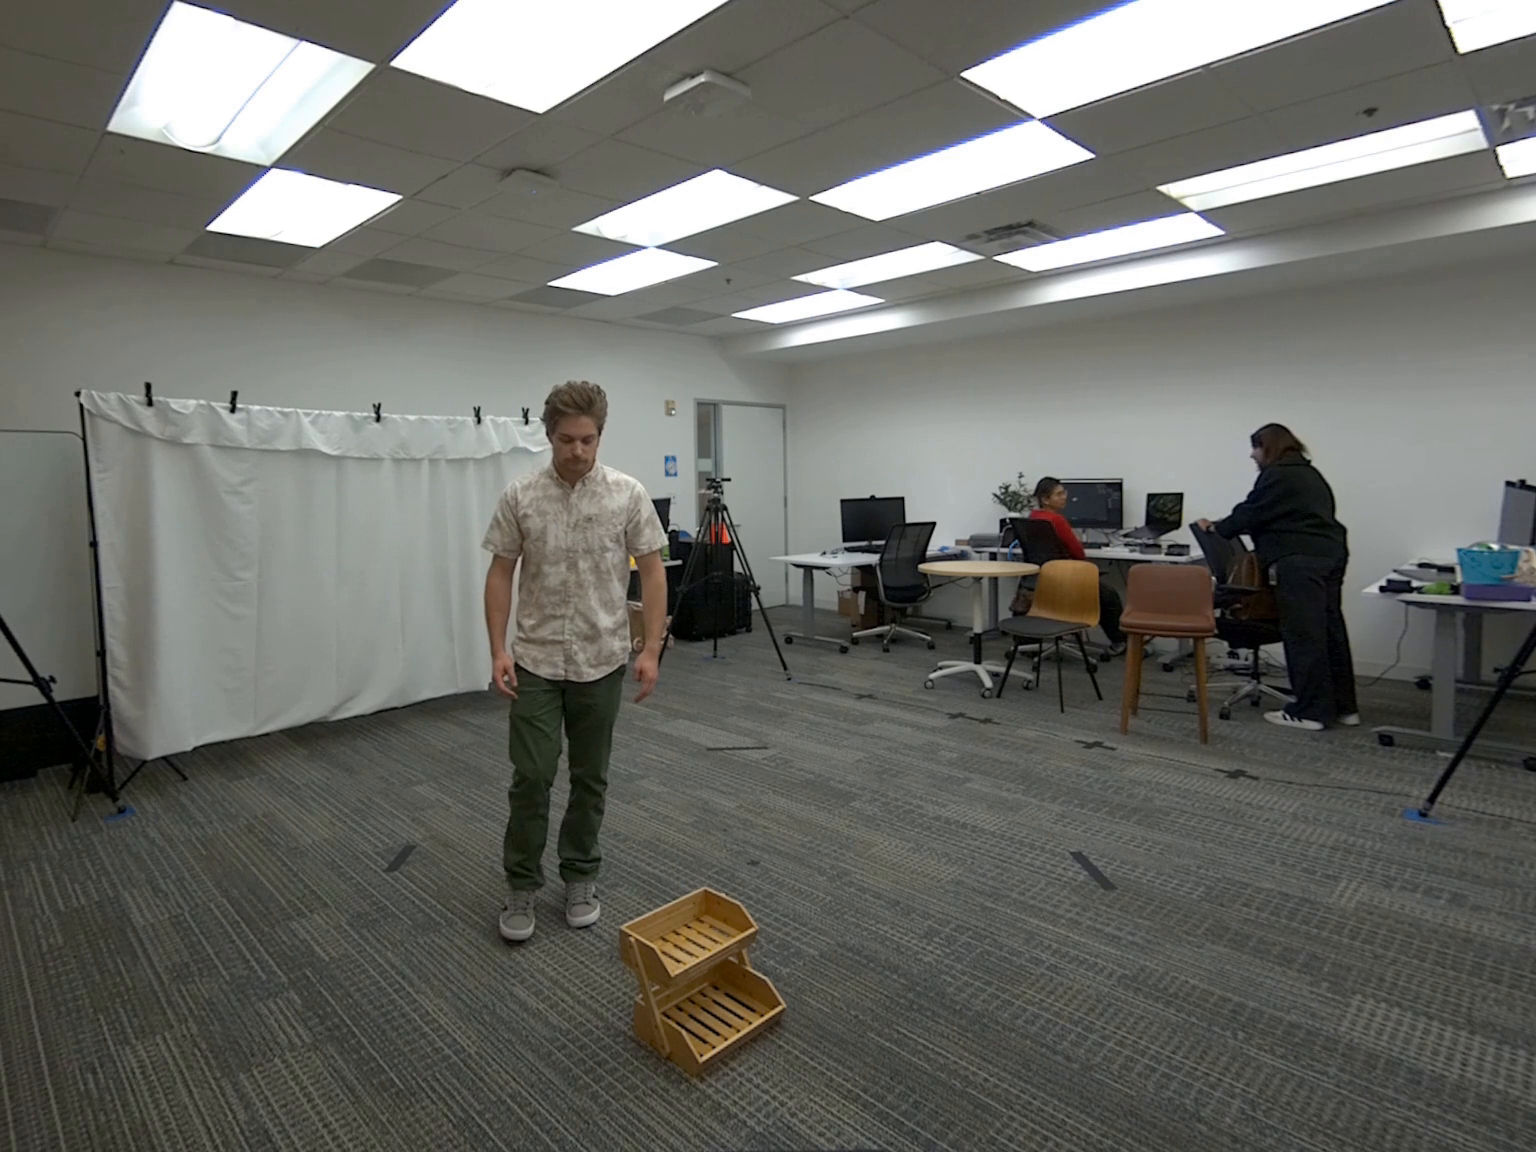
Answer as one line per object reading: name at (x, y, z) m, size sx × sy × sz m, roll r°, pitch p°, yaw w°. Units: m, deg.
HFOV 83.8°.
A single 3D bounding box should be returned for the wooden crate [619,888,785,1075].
wooden crate at (-0.162, 1.022, 2.188) m, size 0.311 × 0.272 × 0.316 m, roll 3°, pitch 7°, yaw 45°
